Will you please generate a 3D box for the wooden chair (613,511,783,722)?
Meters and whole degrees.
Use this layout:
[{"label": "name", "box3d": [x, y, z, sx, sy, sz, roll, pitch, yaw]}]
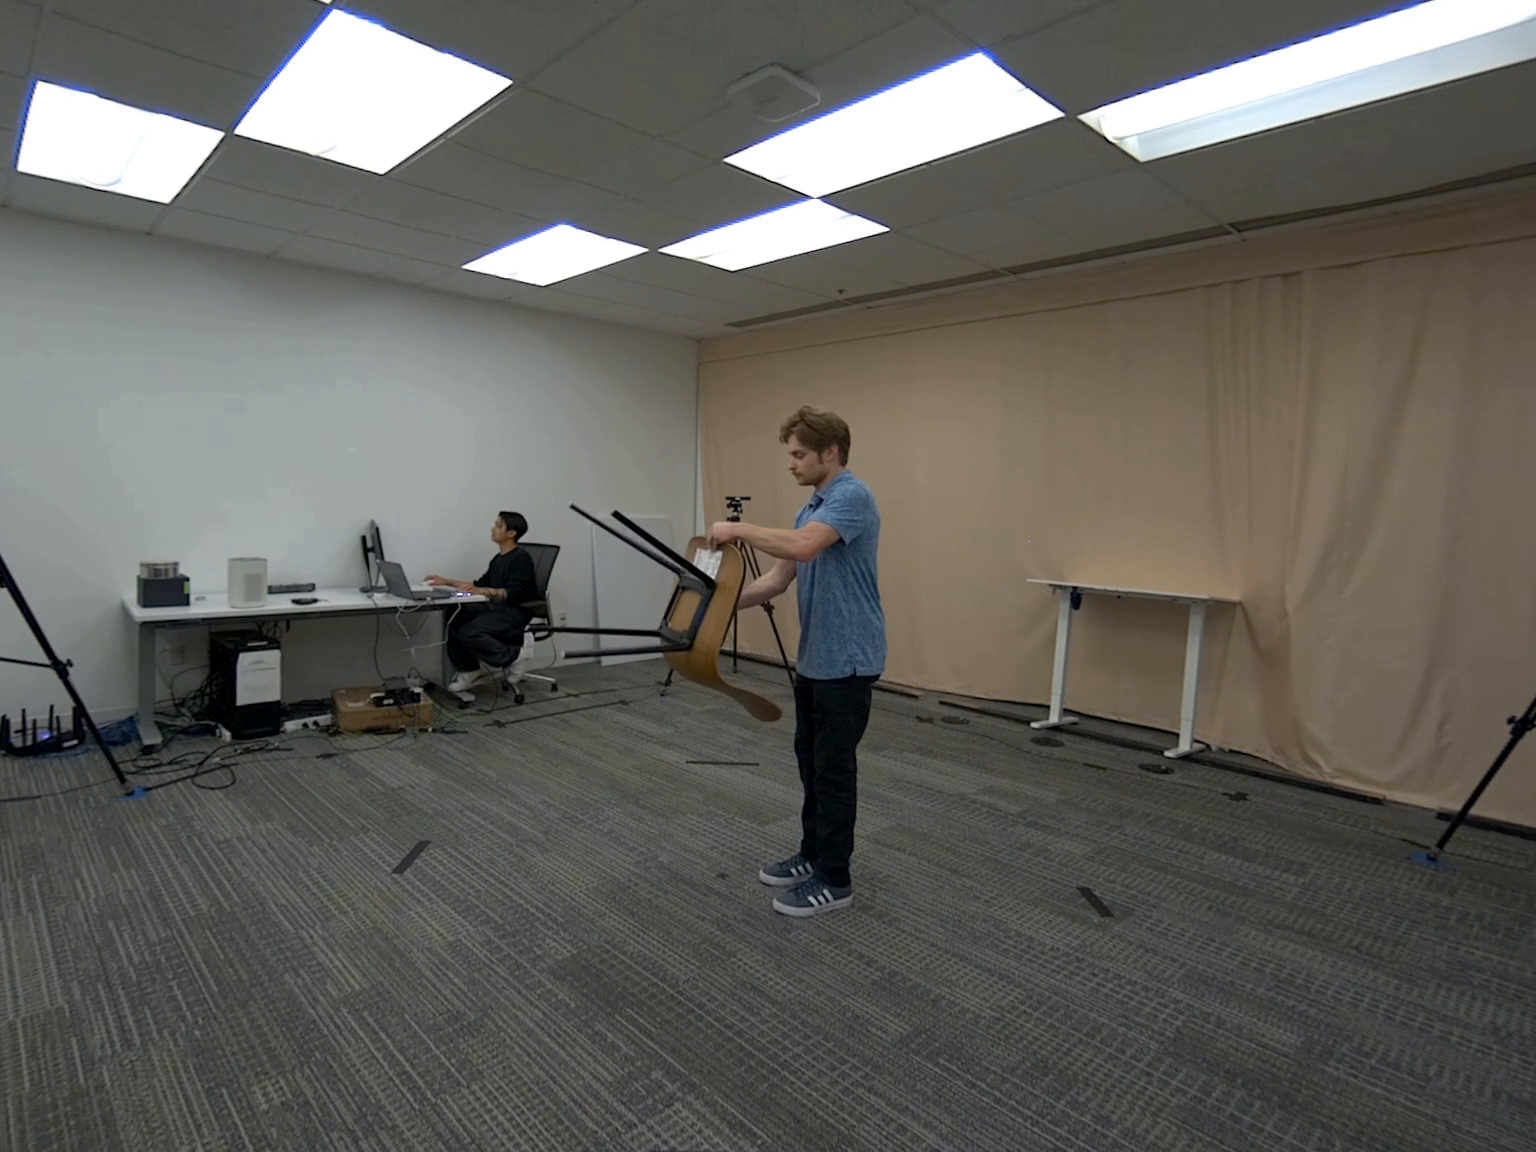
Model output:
[{"label": "wooden chair", "box3d": [-0.284, 0.114, 2.828, 0.855, 0.524, 0.489, 26, -7, -29]}]
